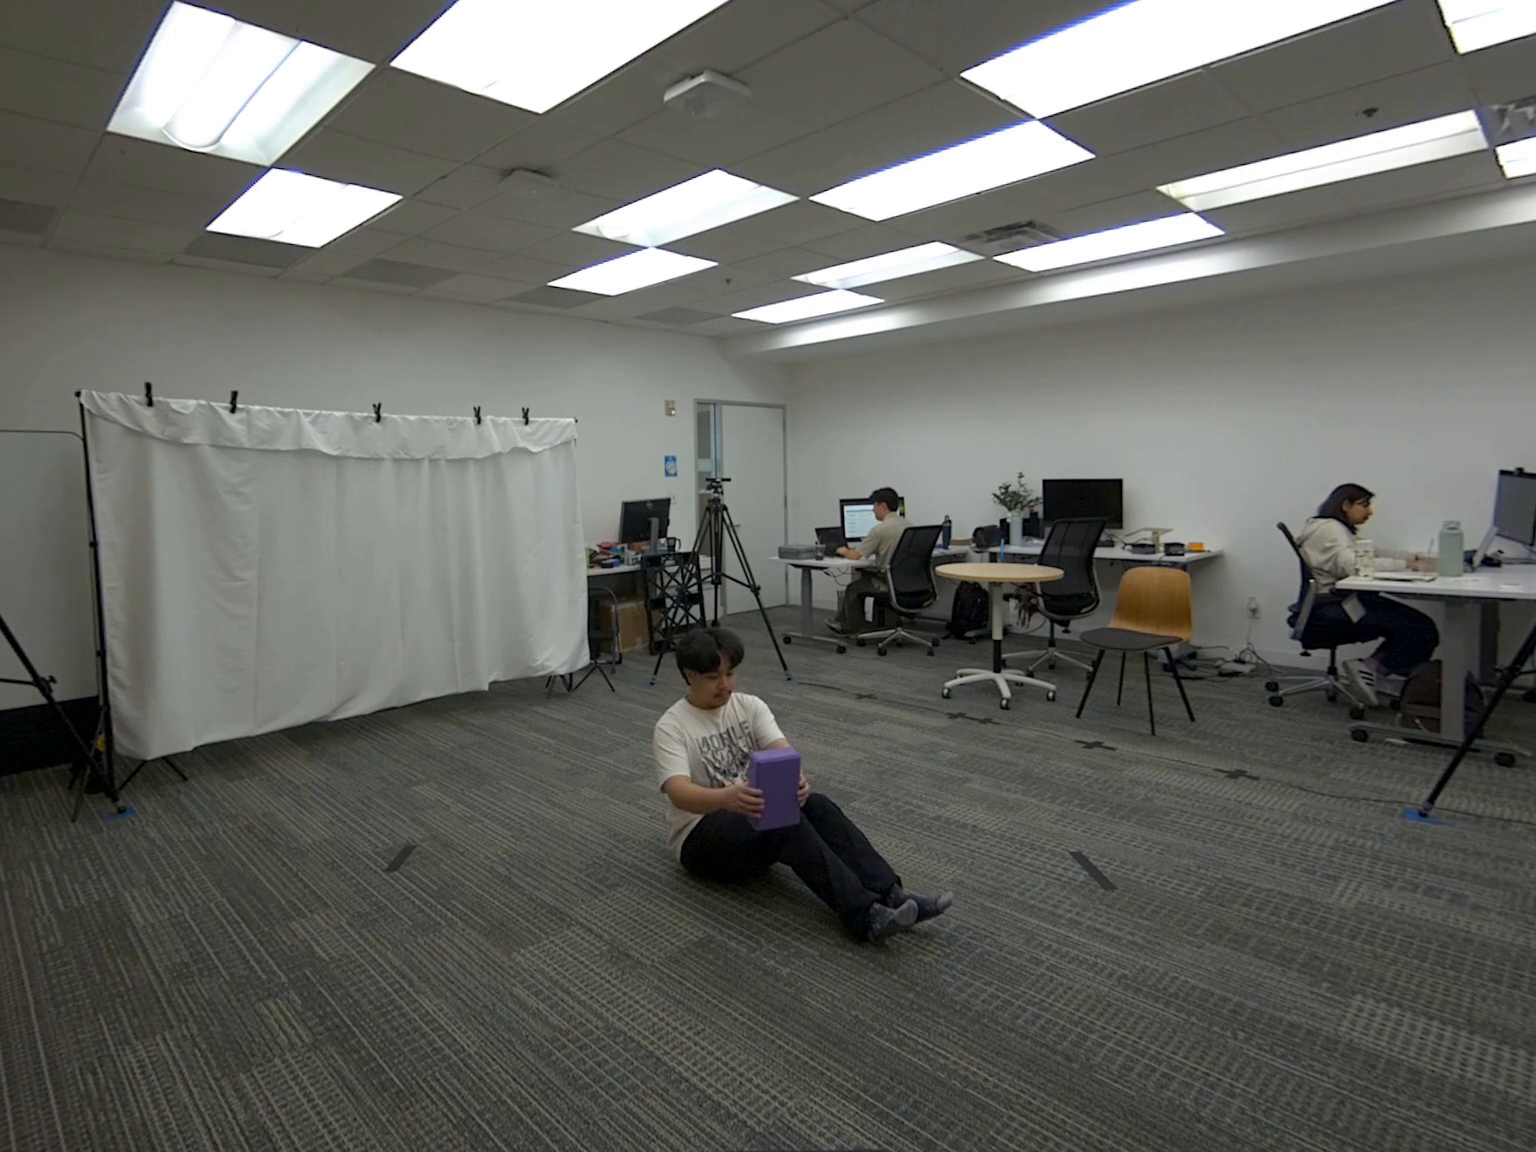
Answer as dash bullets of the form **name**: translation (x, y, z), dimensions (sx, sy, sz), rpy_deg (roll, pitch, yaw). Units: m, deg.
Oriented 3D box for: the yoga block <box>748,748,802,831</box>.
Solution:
- **yoga block**: translation (0.012, 0.654, 2.620), dimensions (0.146, 0.227, 0.078), rpy_deg (-2, 10, -19)
